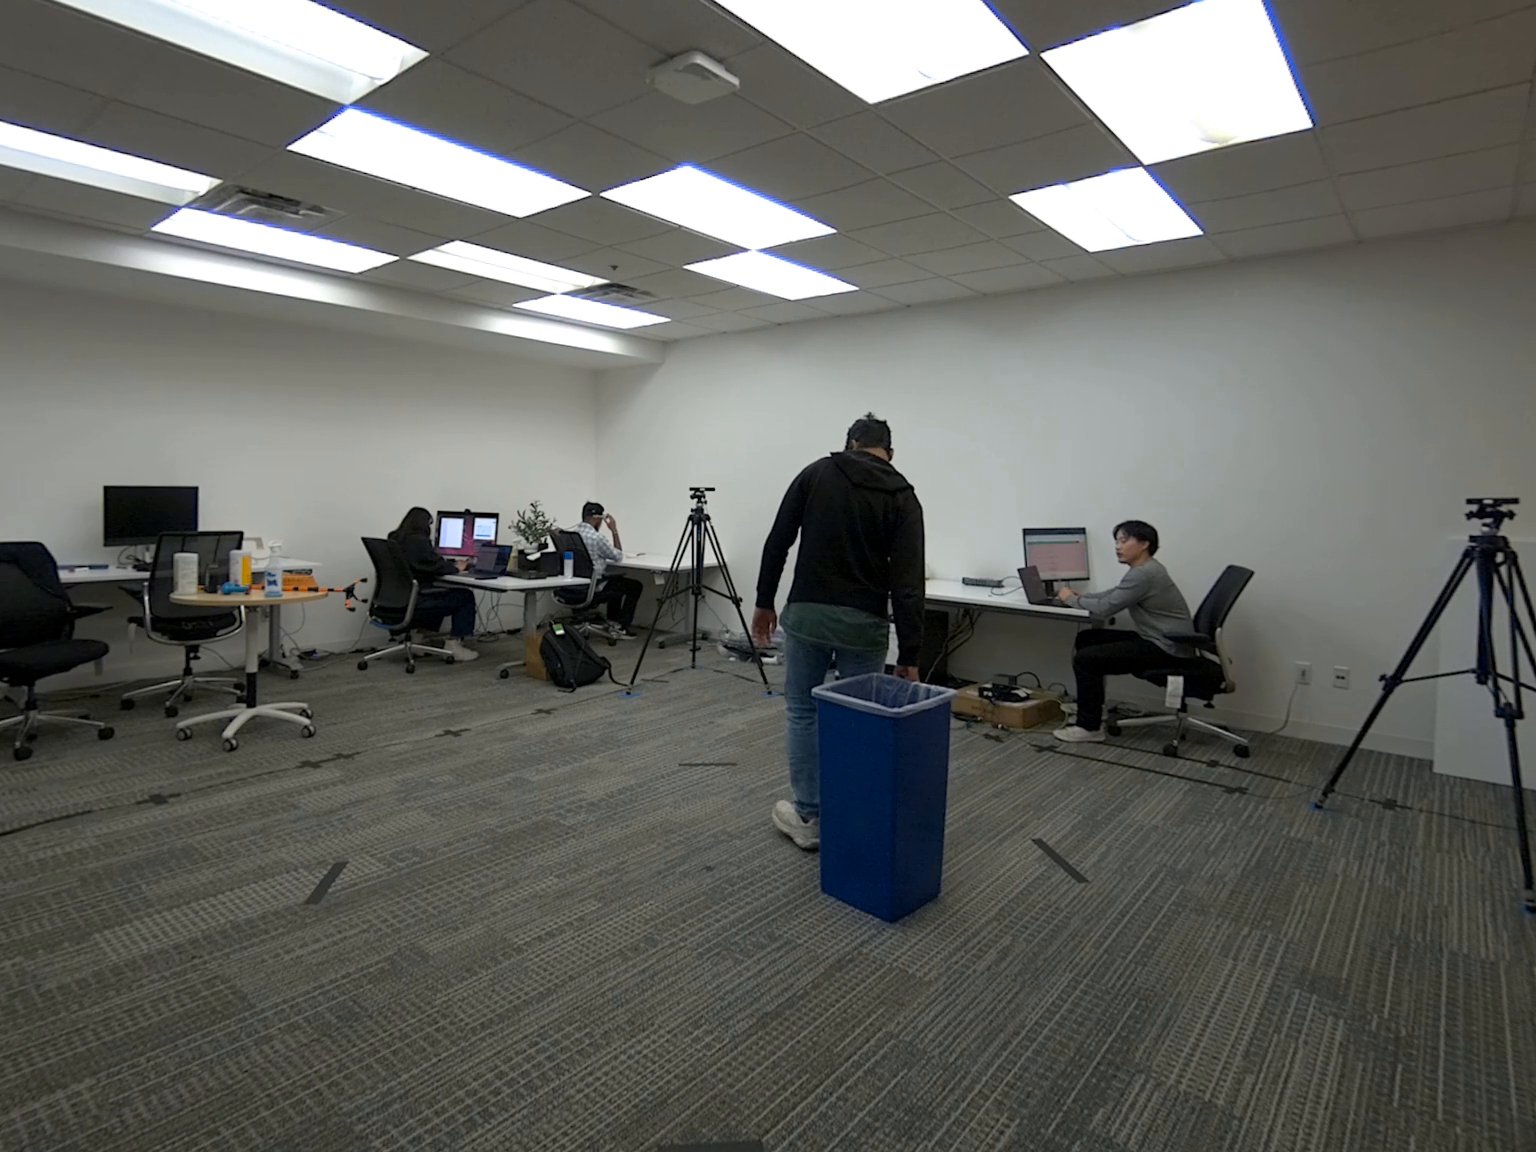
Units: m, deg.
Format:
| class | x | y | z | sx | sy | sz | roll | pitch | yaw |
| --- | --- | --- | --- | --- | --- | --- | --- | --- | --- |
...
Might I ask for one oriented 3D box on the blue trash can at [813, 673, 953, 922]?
| class | x | y | z | sx | sy | sz | roll | pitch | yaw |
| --- | --- | --- | --- | --- | --- | --- | --- | --- | --- |
| blue trash can | 0.381 | 0.736 | 2.920 | 0.387 | 0.710 | 0.367 | 6 | 7 | 44 |
